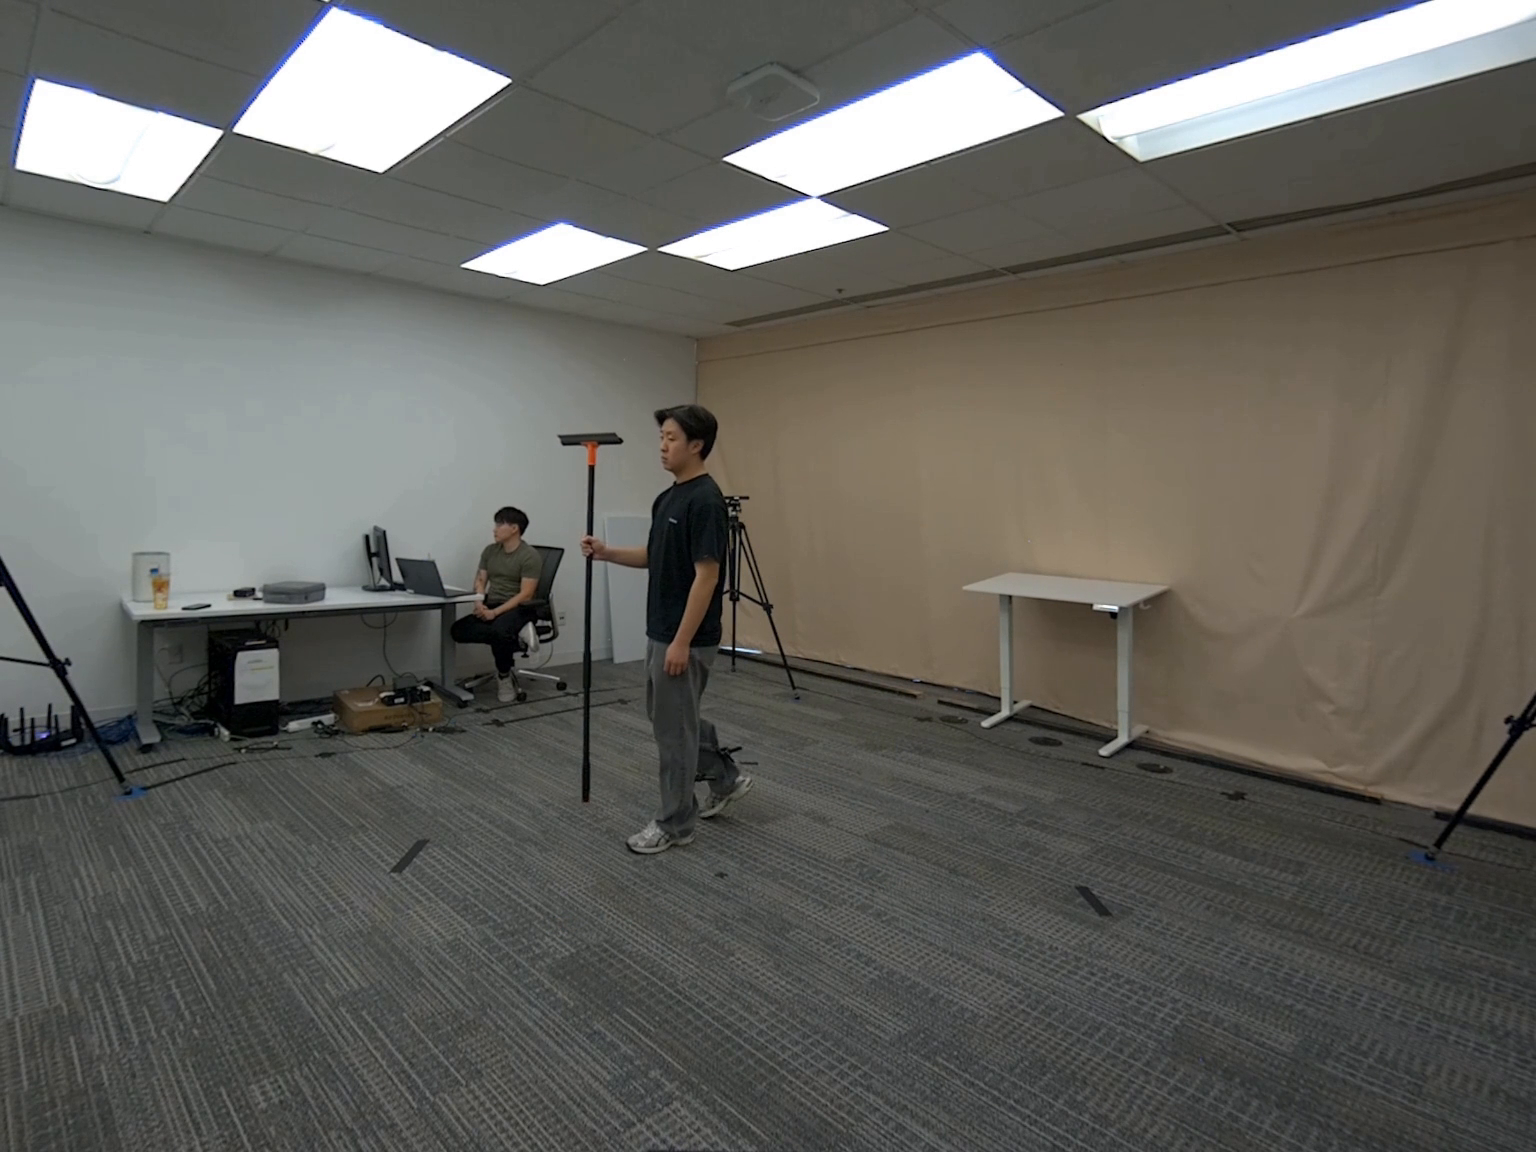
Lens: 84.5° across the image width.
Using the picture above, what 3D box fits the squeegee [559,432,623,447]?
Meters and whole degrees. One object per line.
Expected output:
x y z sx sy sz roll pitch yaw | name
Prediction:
-0.725 0.194 3.439 0.052 1.532 0.449 -4 6 -39 | squeegee
